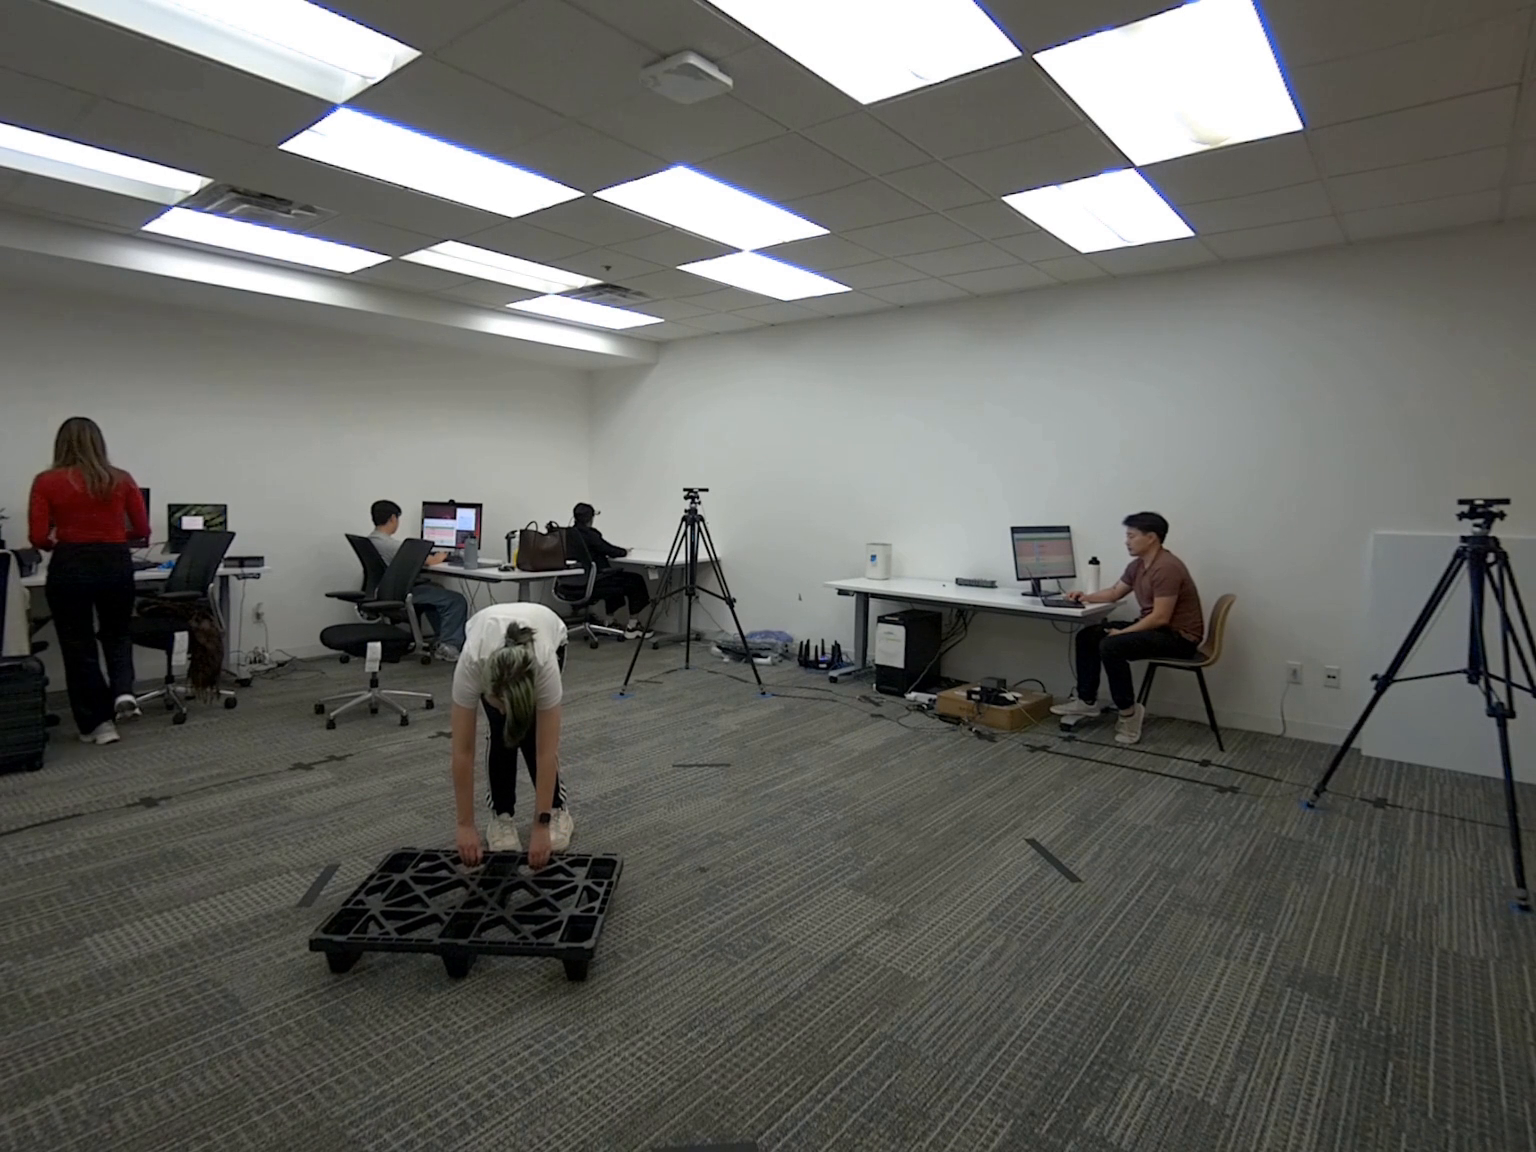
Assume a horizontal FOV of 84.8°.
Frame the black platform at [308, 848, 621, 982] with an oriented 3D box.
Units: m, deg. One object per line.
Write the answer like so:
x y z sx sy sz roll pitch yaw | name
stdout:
-0.892 1.036 2.634 0.807 0.142 0.607 1 7 1 | black platform
